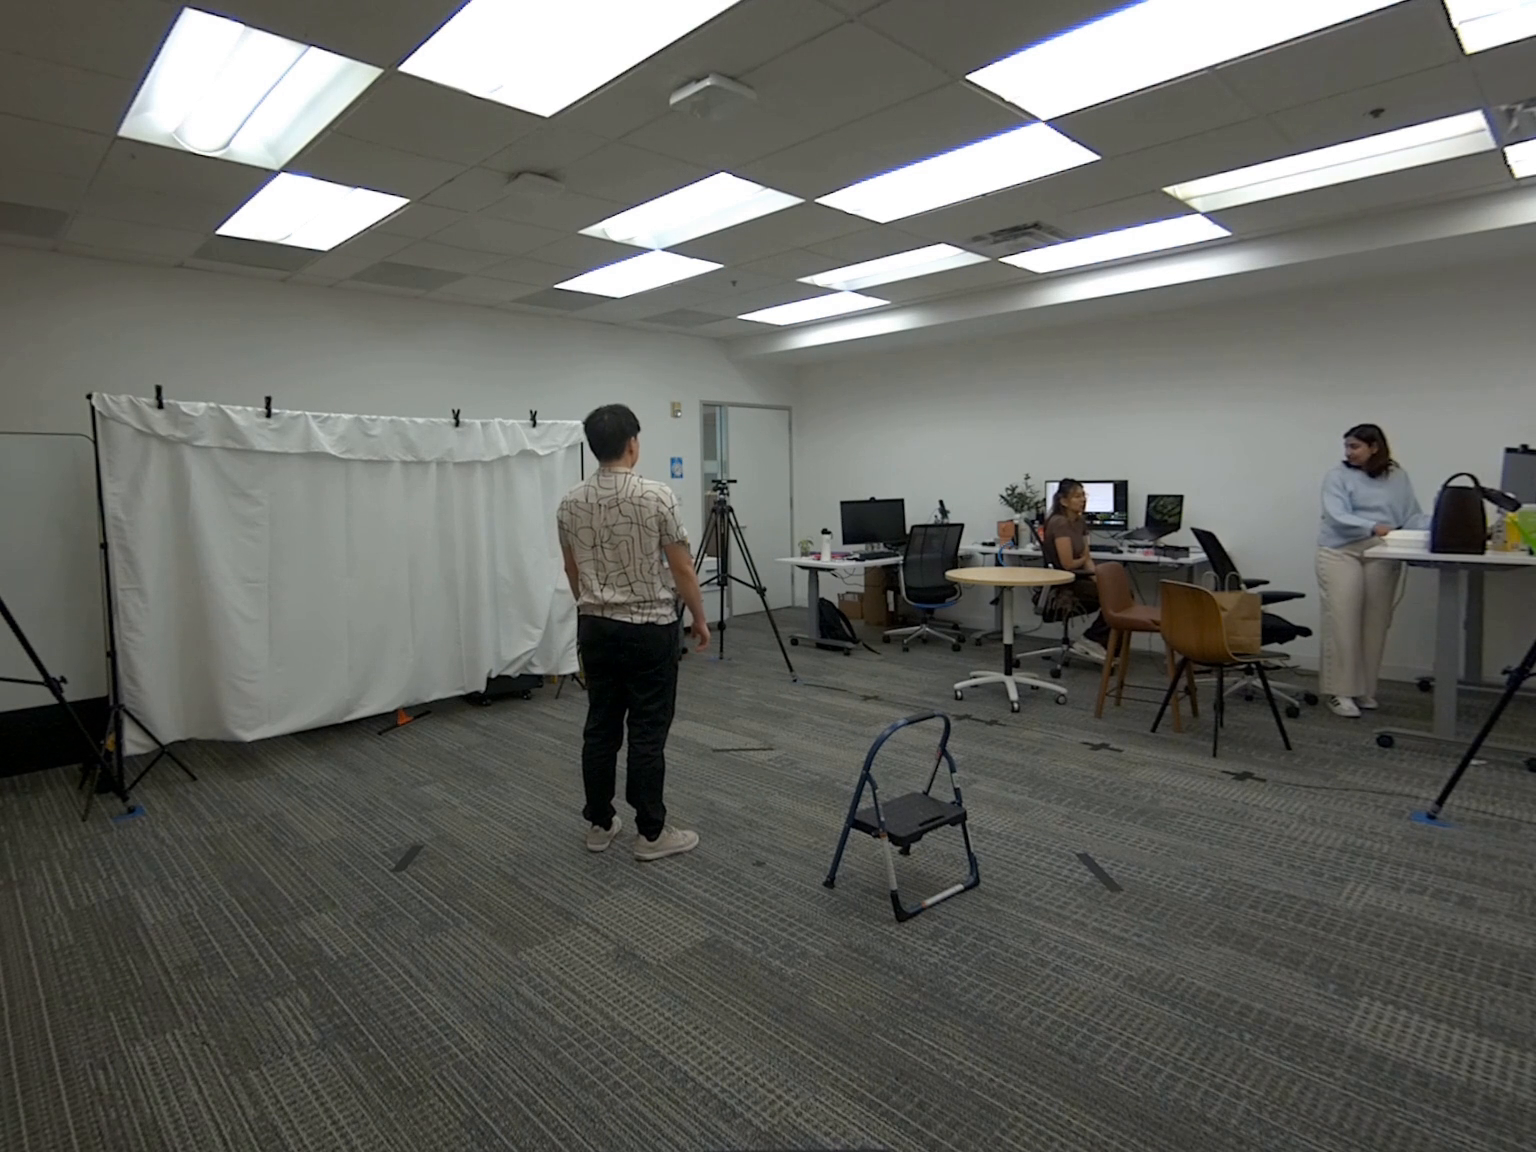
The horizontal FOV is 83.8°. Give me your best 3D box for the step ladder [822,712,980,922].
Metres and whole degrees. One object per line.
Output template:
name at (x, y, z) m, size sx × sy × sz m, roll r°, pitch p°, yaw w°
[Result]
step ladder at (0.454, 0.753, 2.910) m, size 0.419 × 0.604 × 0.360 m, roll -4°, pitch 5°, yaw -40°
